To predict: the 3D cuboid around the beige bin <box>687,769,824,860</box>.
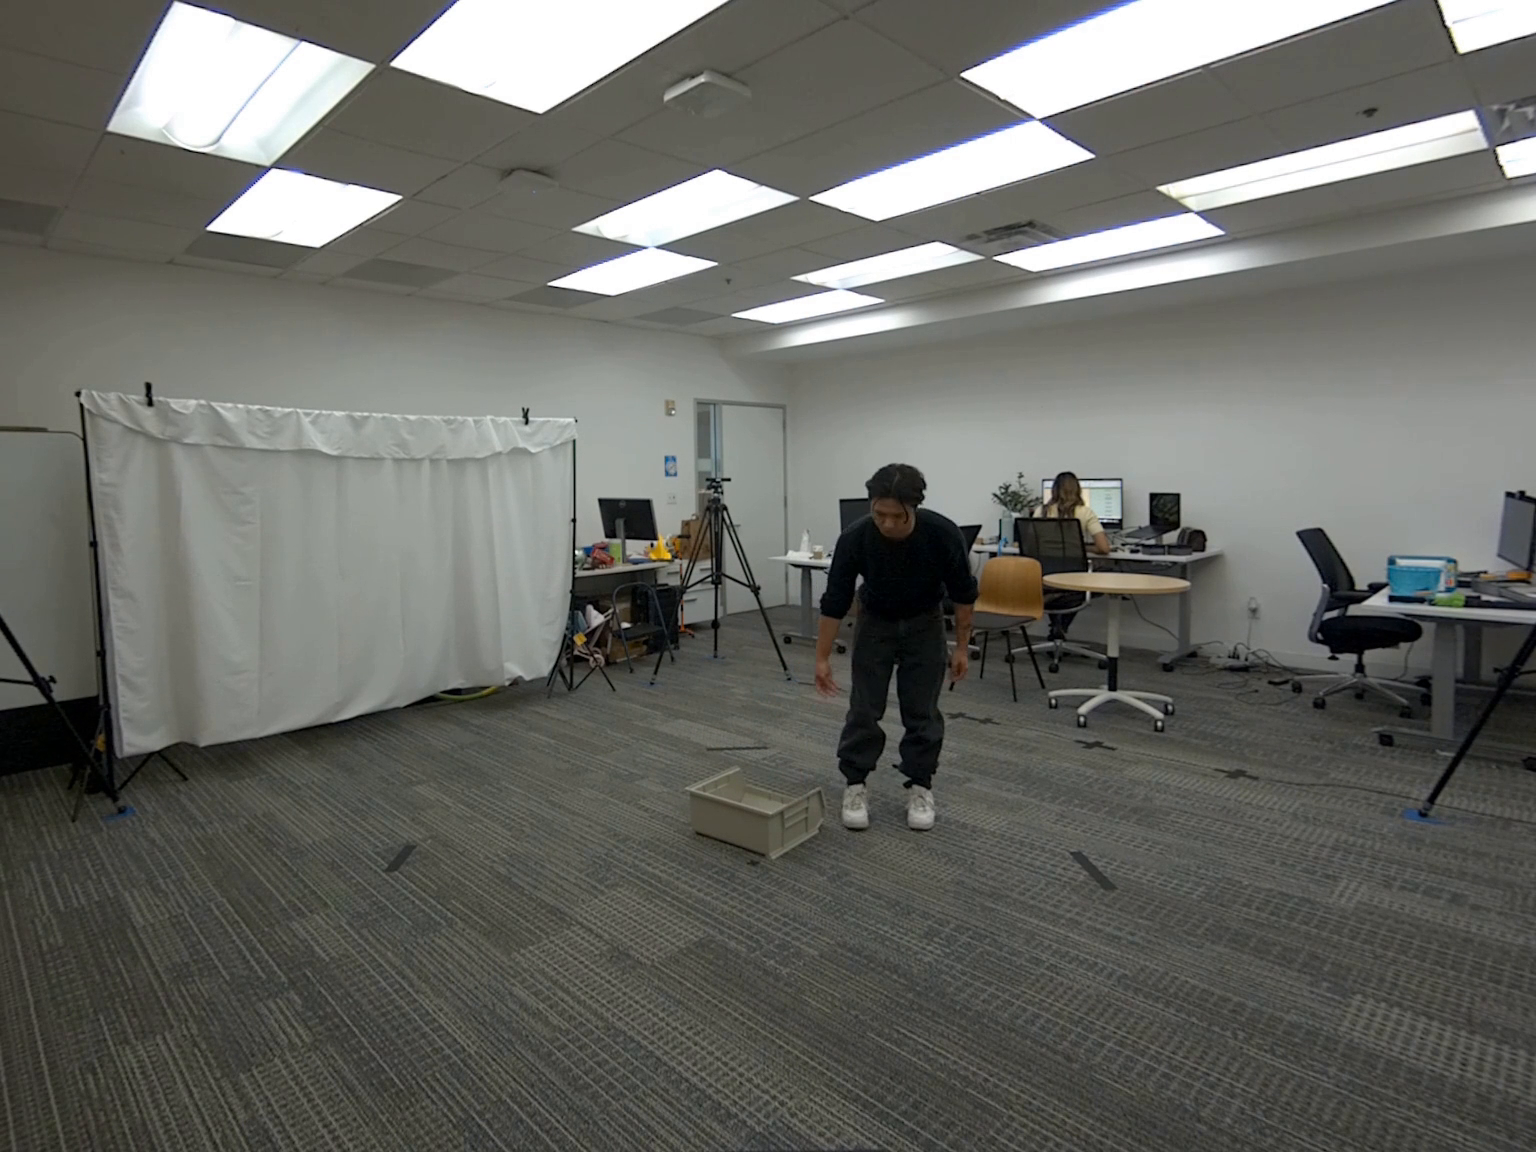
[{"bbox_3d":[-0.046,0.921,3.387,0.435,0.188,0.368,5,9,37],"label":"beige bin"}]
